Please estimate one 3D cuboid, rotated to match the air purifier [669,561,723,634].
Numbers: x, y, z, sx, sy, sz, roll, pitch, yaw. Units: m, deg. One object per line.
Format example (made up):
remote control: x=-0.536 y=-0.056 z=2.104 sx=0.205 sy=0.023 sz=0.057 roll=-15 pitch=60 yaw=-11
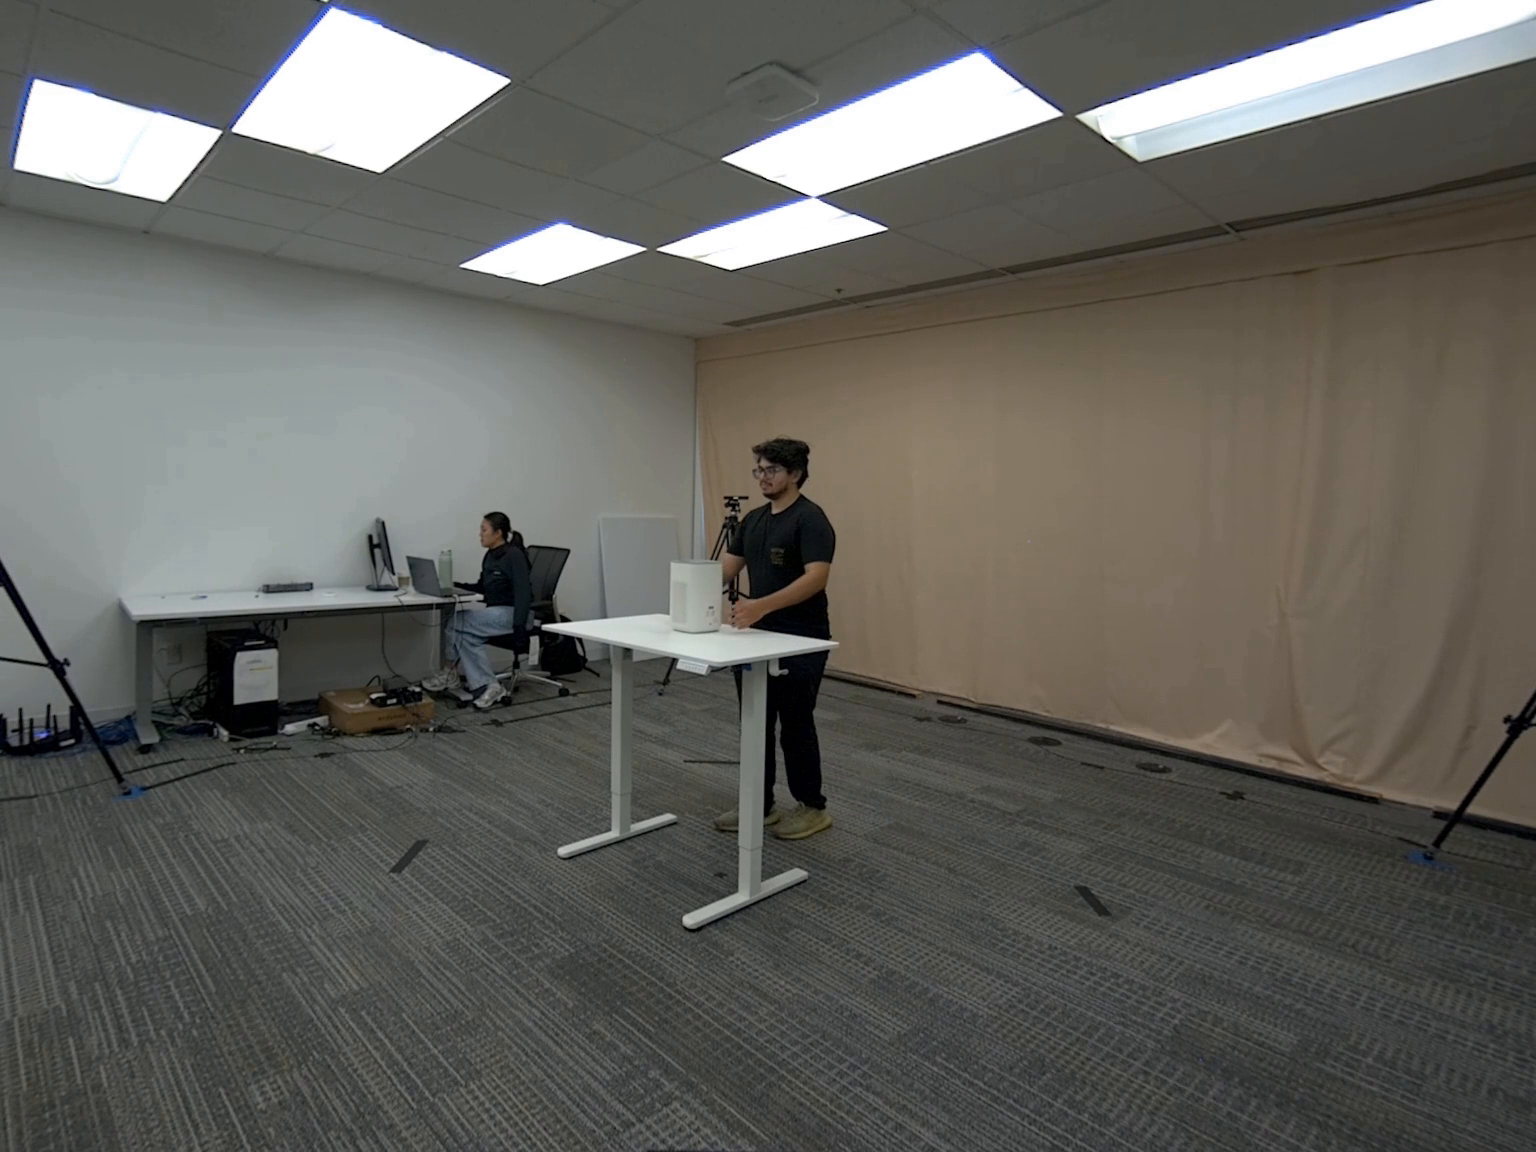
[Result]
air purifier: x=-0.280 y=0.076 z=3.209 sx=0.176 sy=0.265 sz=0.167 roll=3 pitch=4 yaw=44
